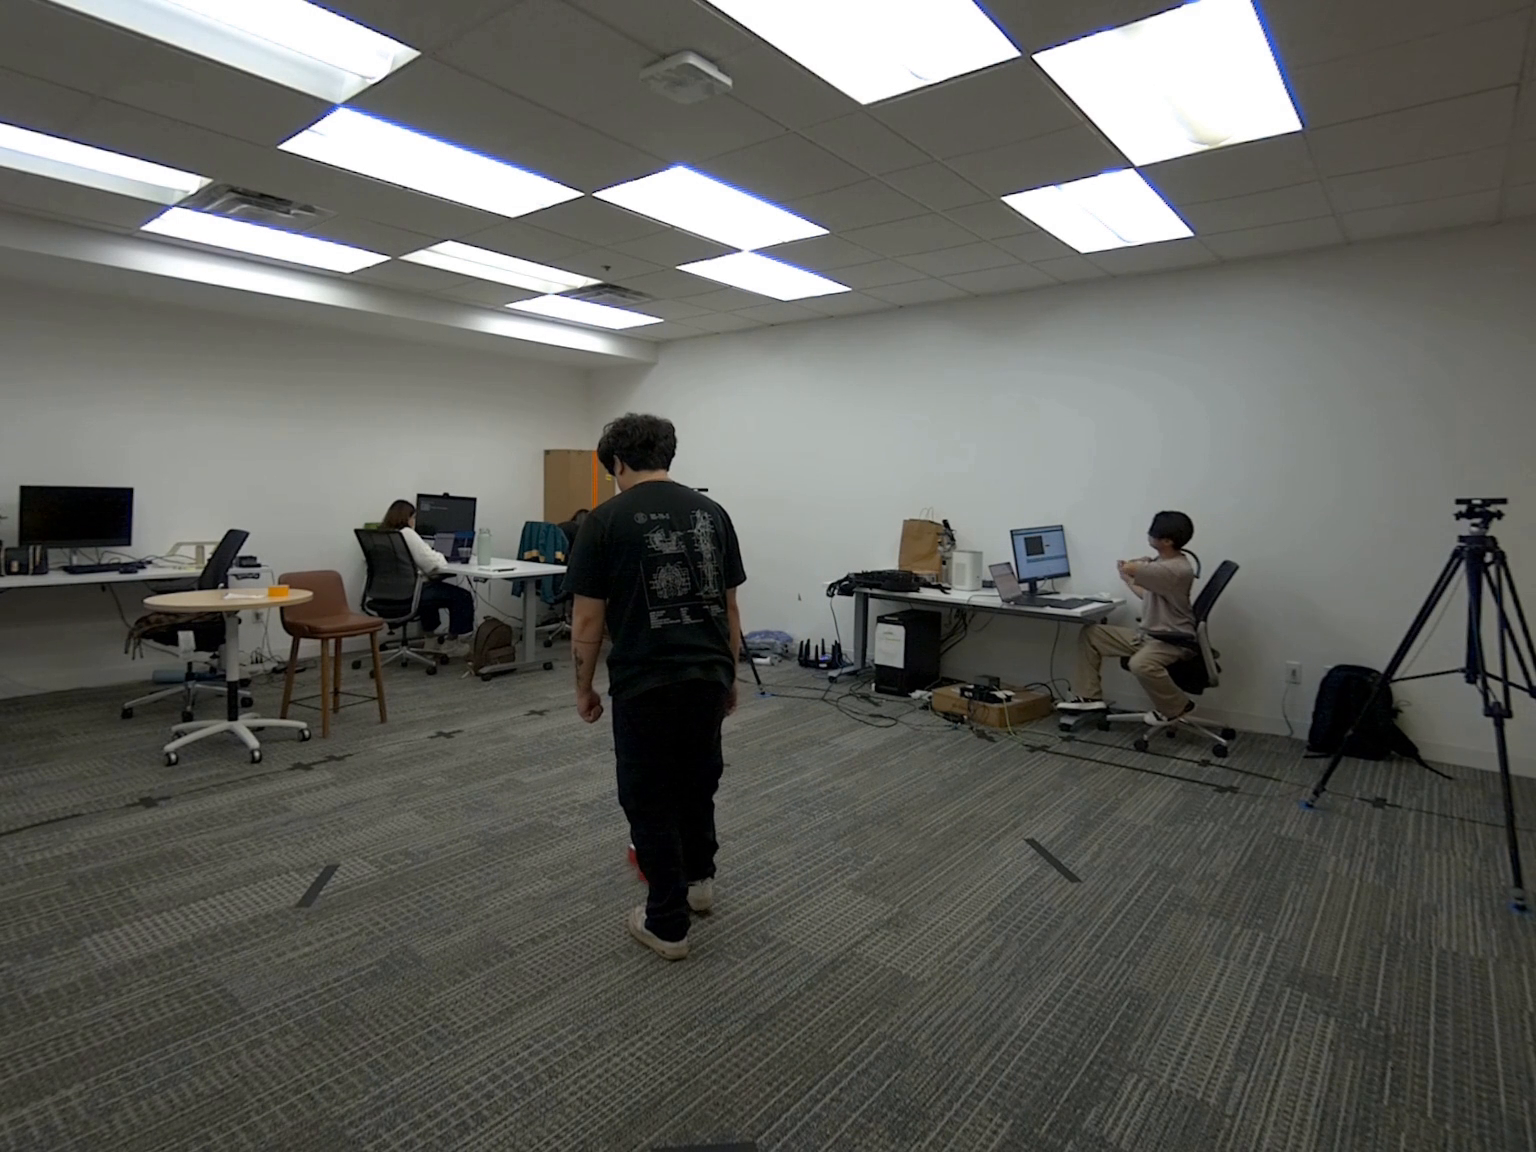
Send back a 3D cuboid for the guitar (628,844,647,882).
[{"bbox_3d":[-0.418,1.036,3.007,0.192,0.070,0.501,1,5,-4],"label":"guitar"}]
